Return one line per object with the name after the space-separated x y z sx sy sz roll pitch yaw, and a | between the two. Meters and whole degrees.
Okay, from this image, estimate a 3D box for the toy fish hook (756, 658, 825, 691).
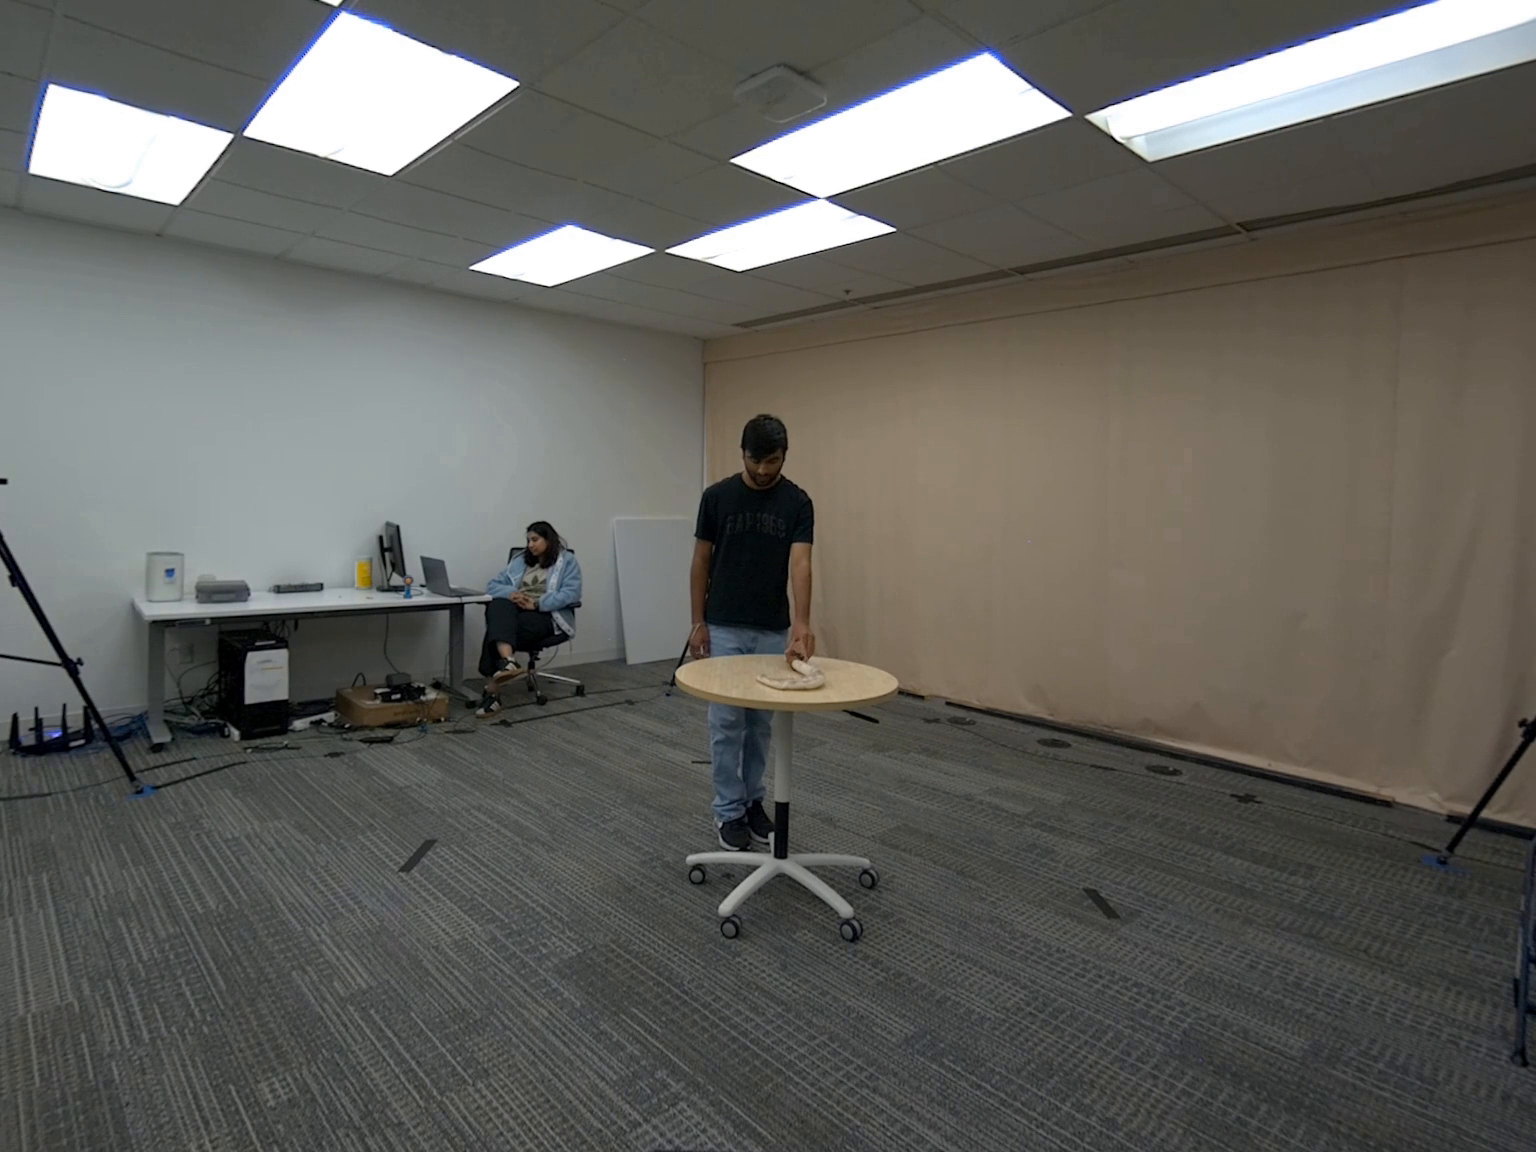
0.052 0.324 2.927 0.223 0.048 0.511 4 6 -7 | toy fish hook
